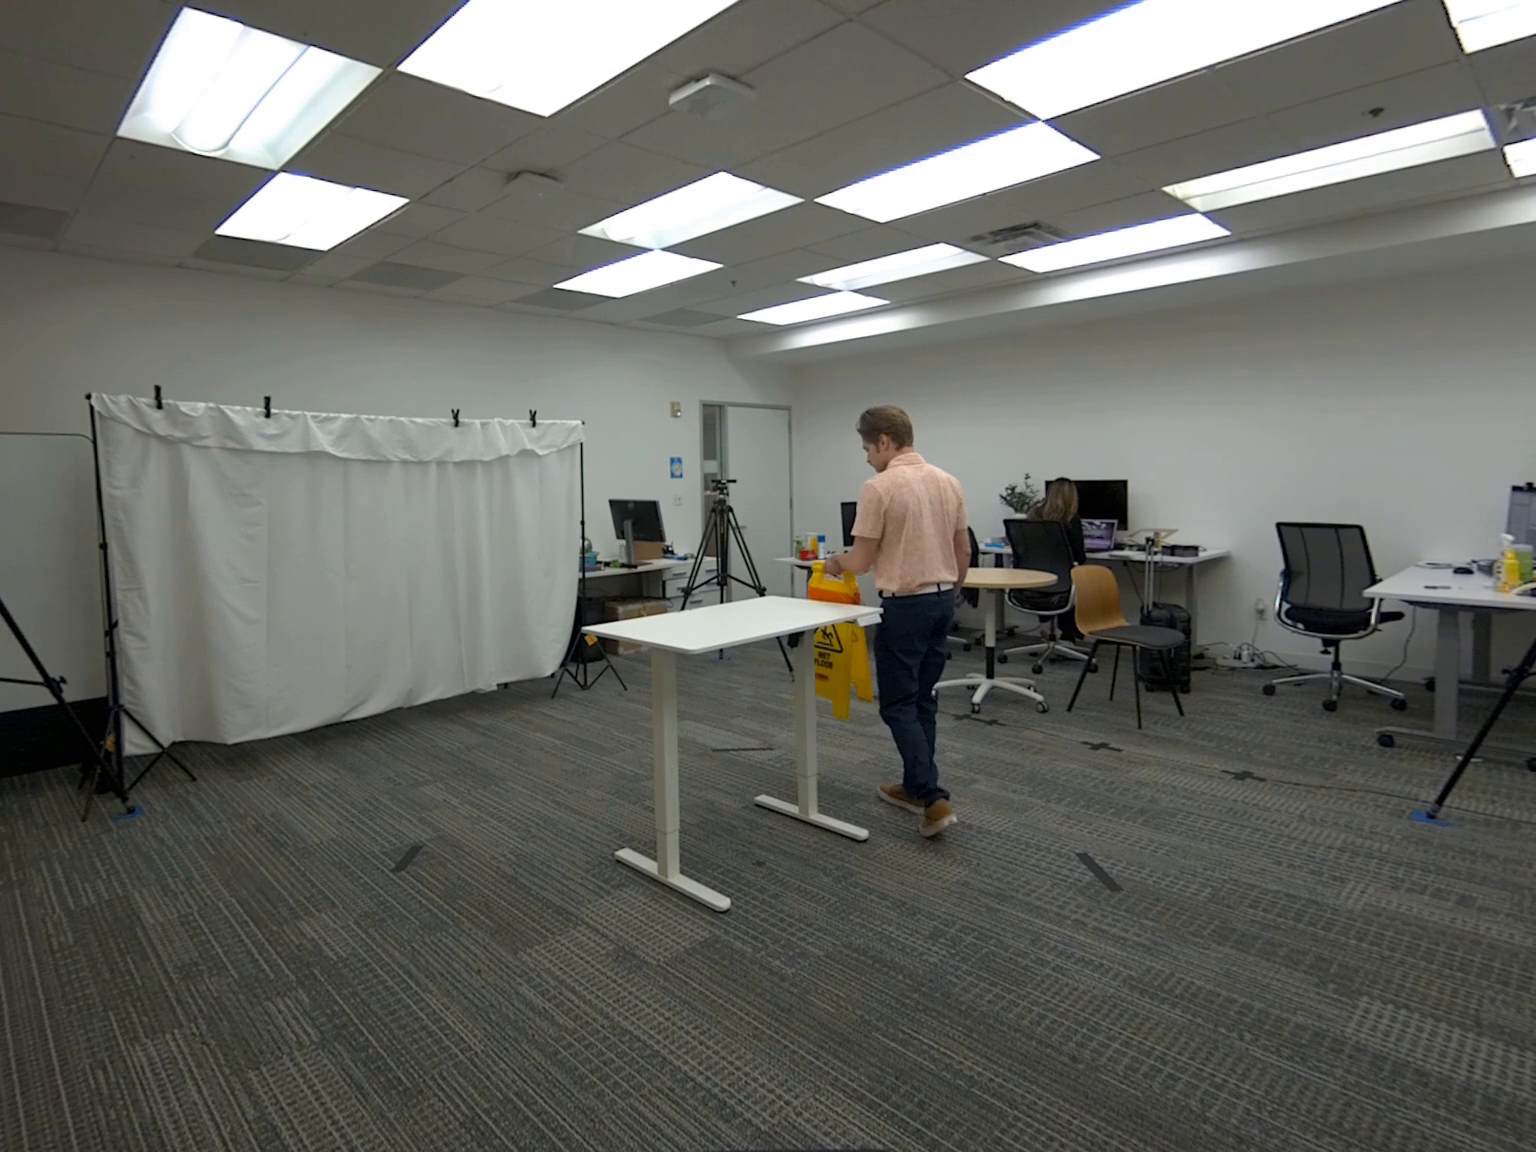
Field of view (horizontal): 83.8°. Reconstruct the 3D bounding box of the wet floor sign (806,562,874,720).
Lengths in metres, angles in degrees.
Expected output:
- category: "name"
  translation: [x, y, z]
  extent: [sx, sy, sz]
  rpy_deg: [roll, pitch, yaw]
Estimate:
- category: "wet floor sign"
  translation: [0.289, 0.258, 3.774]
  extent: [0.291, 0.639, 0.284]
  rpy_deg: [9, 15, 34]
